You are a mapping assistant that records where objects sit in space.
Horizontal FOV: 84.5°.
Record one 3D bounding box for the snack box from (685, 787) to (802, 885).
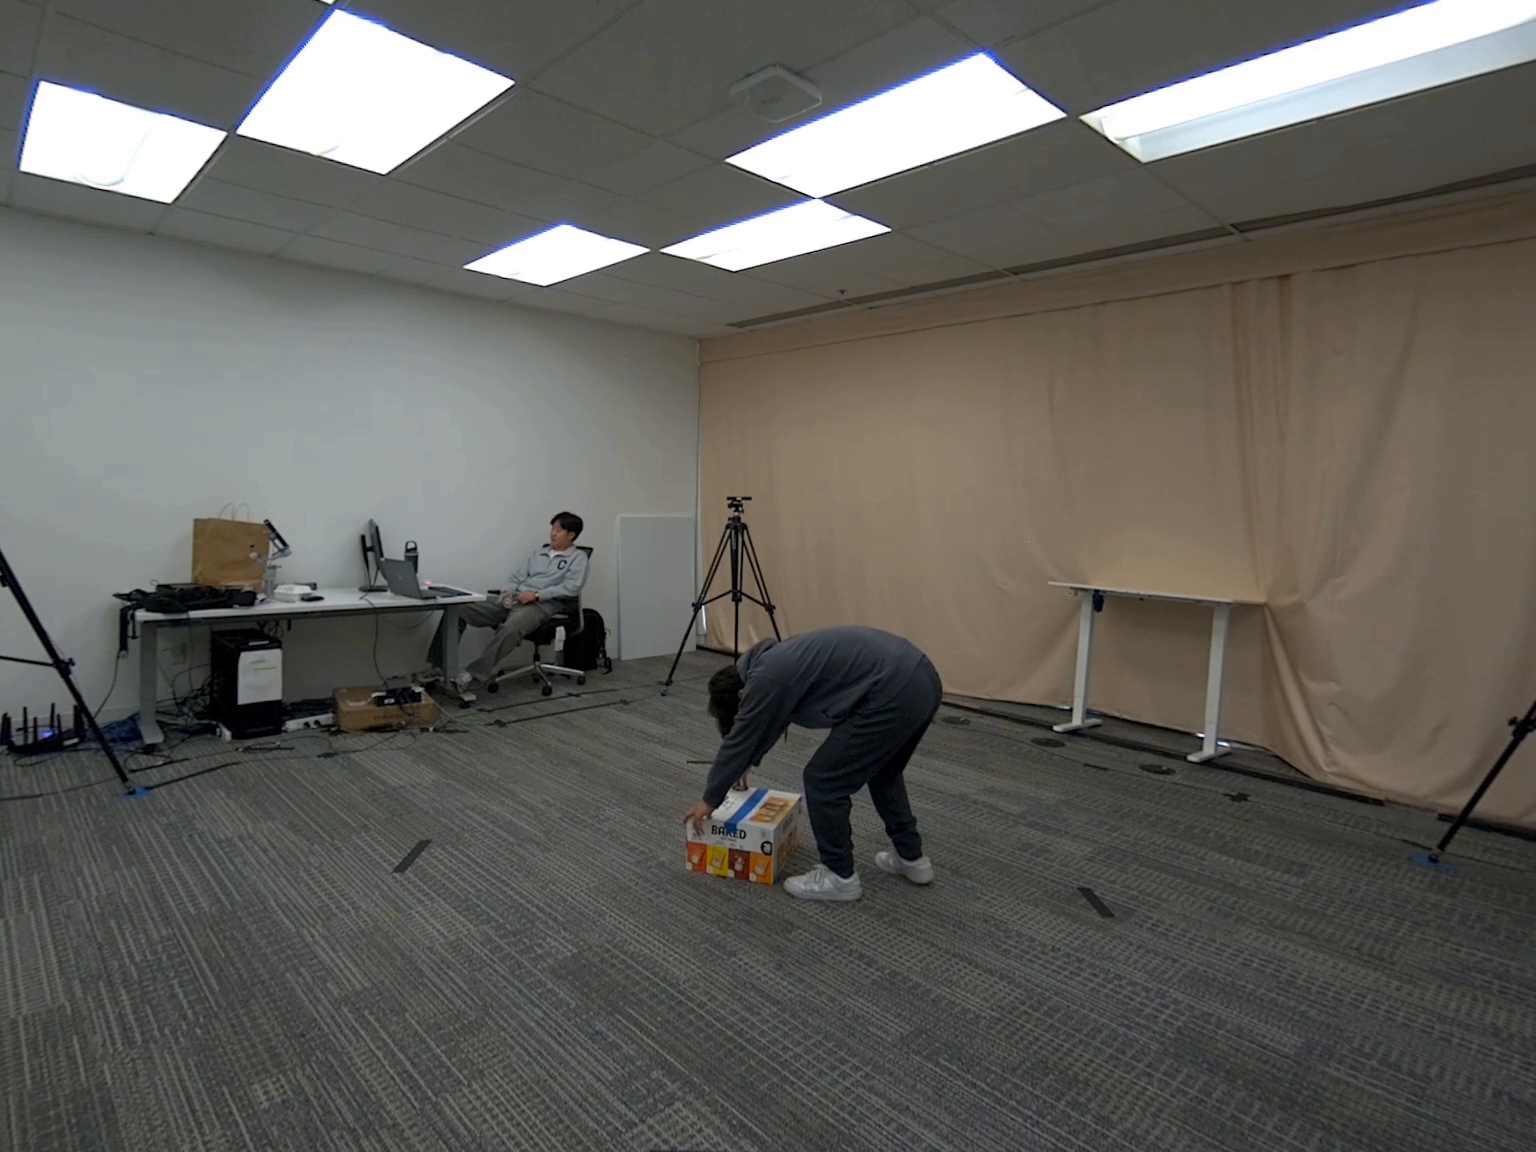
[{"bbox_3d":[-0.095,0.994,3.277,0.345,0.205,0.400,3,5,18],"label":"snack box"}]
